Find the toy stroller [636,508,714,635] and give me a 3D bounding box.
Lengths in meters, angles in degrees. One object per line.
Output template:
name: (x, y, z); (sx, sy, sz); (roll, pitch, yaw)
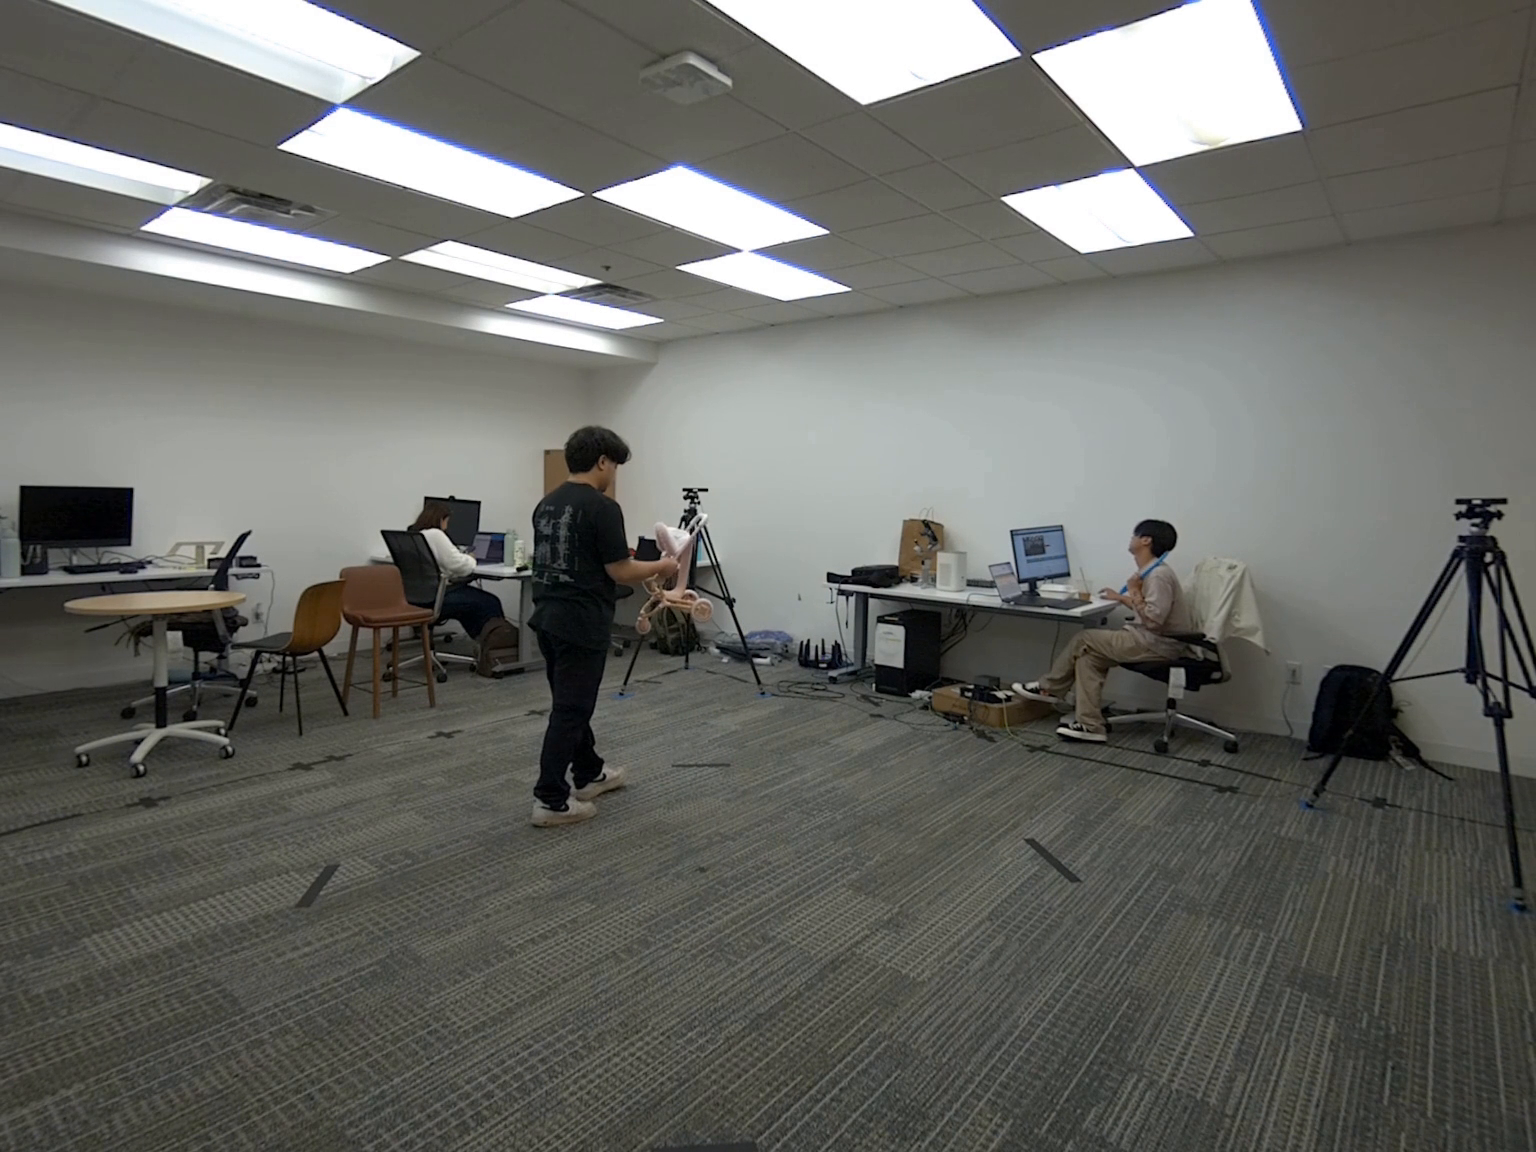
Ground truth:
toy stroller: (-0.458, -0.011, 3.865); (0.337, 0.531, 0.287); (-2, 8, -14)
